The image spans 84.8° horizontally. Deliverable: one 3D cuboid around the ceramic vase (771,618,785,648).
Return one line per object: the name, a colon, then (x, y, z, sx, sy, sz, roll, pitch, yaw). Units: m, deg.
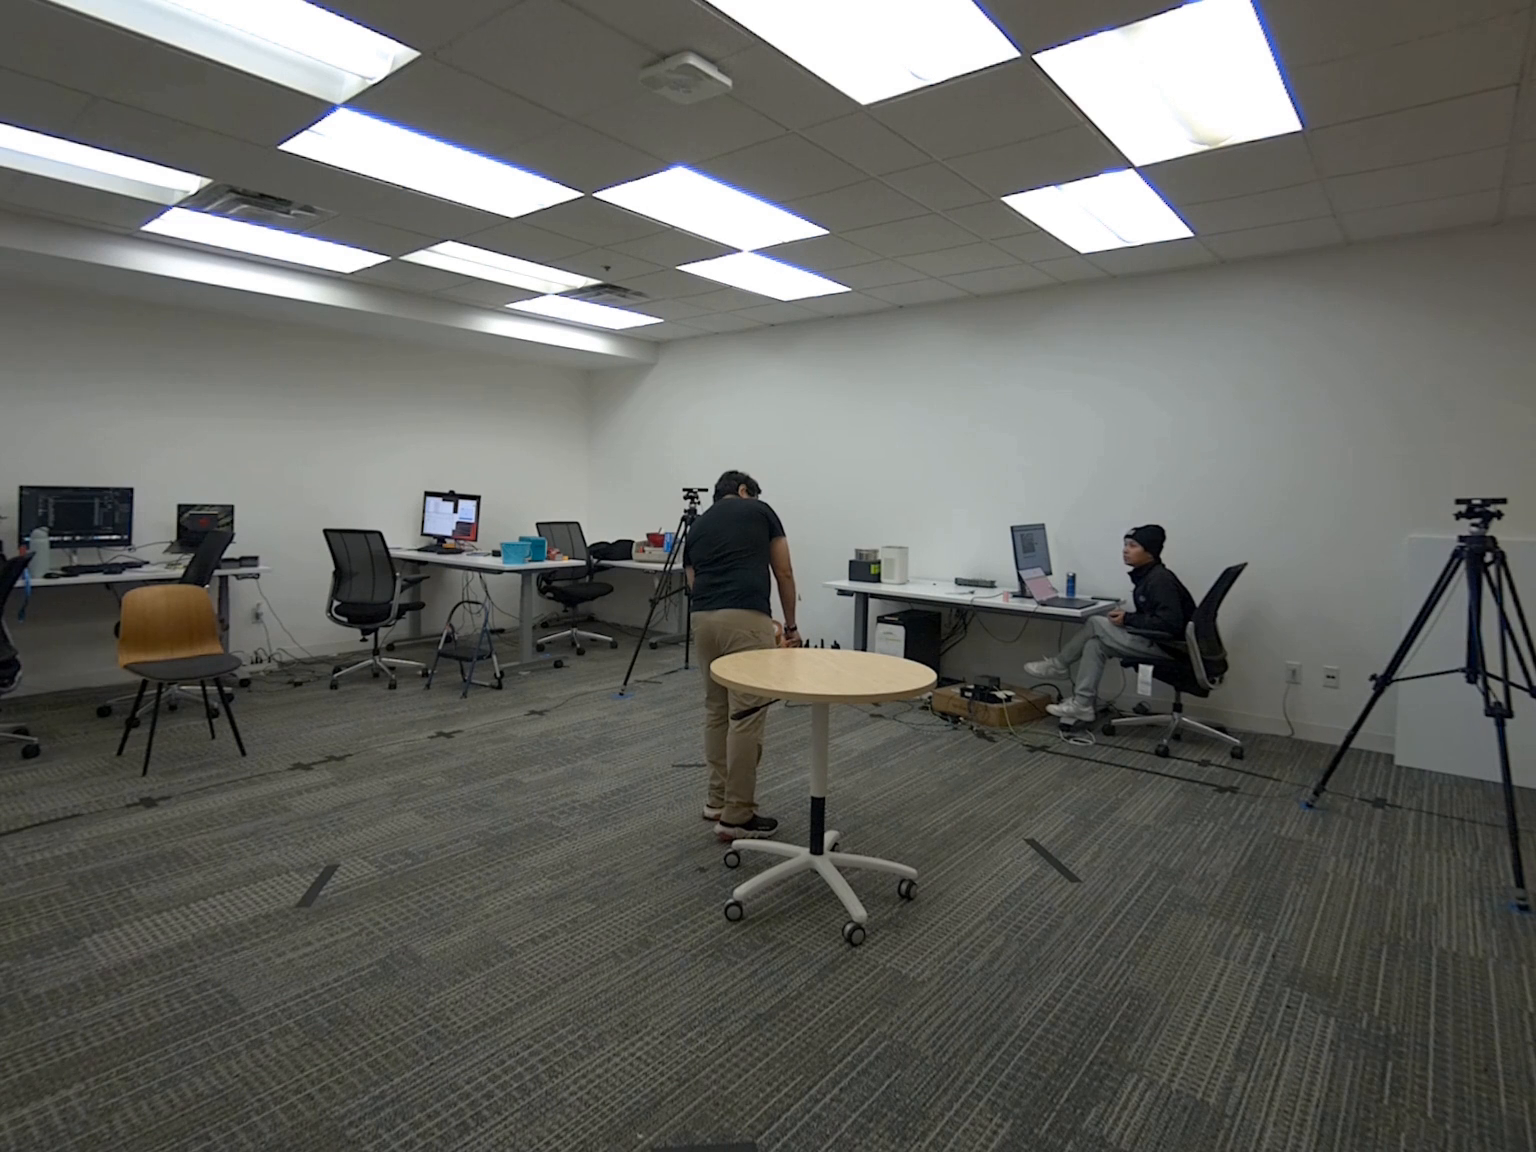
ceramic vase: (0.013, 0.299, 3.802, 0.139, 0.213, 0.158, 28, 55, 27)
